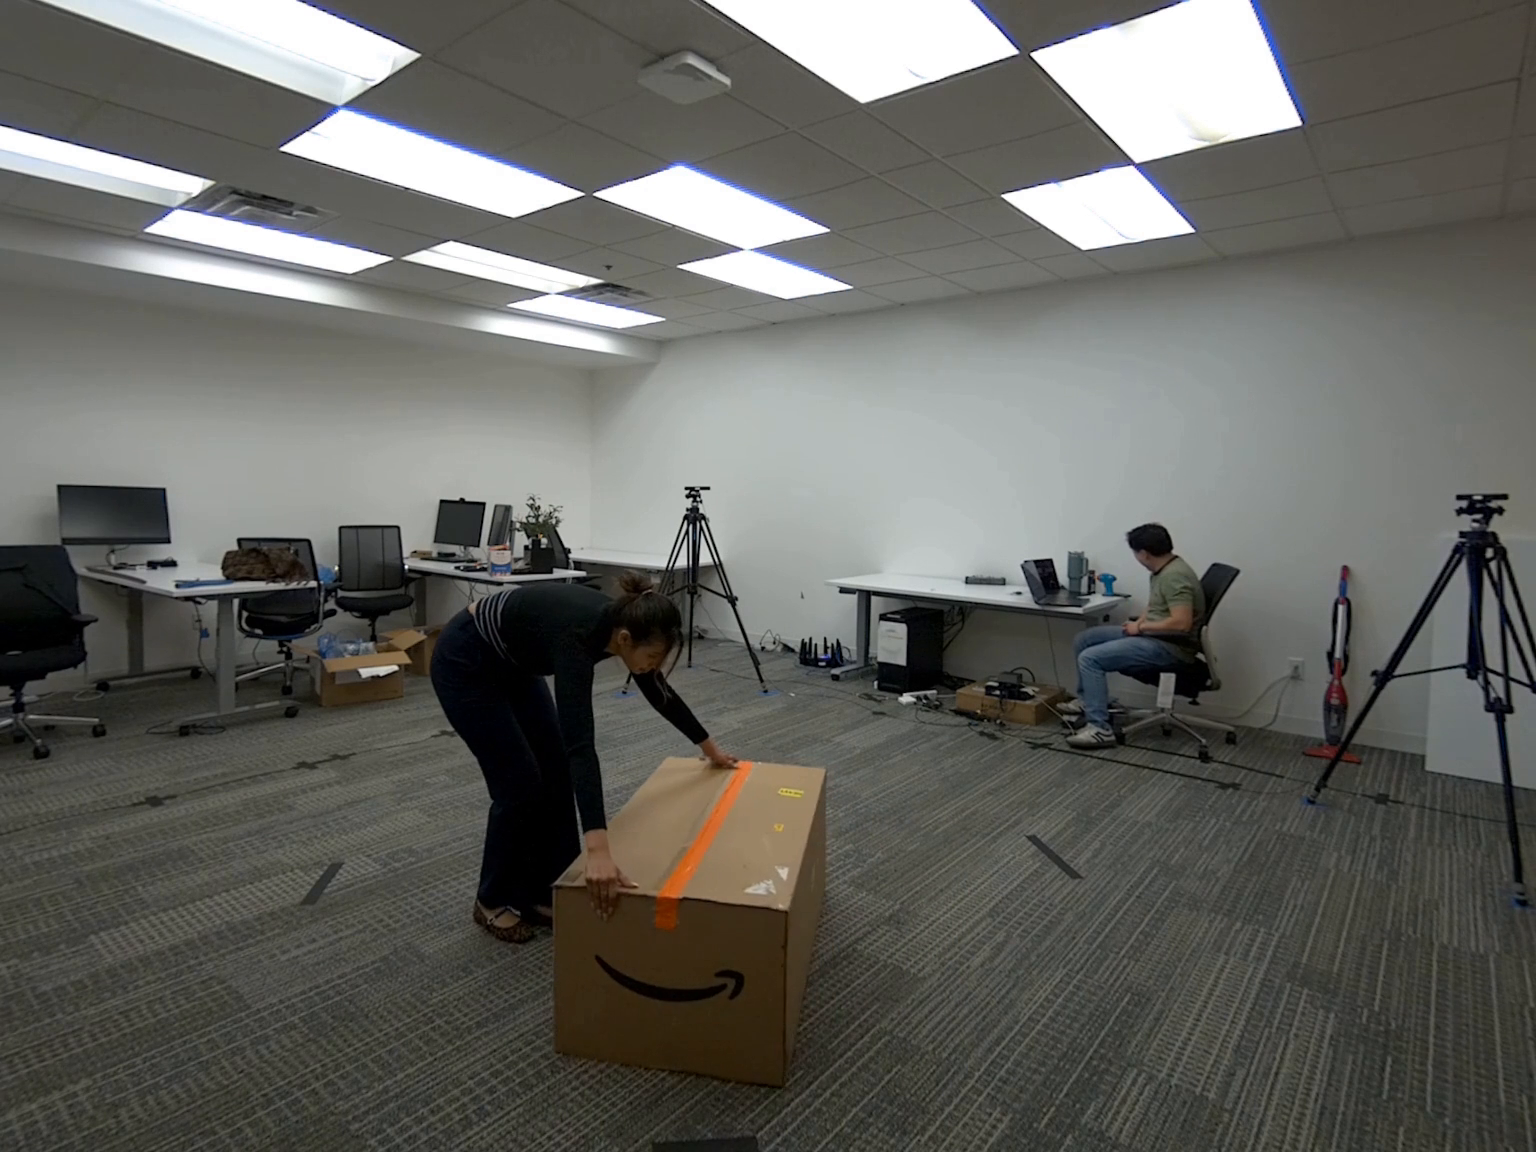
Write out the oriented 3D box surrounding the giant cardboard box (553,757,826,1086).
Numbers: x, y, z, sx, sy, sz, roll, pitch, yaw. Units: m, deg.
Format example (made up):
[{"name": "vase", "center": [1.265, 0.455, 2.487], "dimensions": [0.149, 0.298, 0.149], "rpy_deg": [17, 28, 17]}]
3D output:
[{"name": "giant cardboard box", "center": [-0.171, 0.907, 2.507], "dimensions": [0.585, 0.425, 1.017], "rpy_deg": [1, 5, 10]}]
